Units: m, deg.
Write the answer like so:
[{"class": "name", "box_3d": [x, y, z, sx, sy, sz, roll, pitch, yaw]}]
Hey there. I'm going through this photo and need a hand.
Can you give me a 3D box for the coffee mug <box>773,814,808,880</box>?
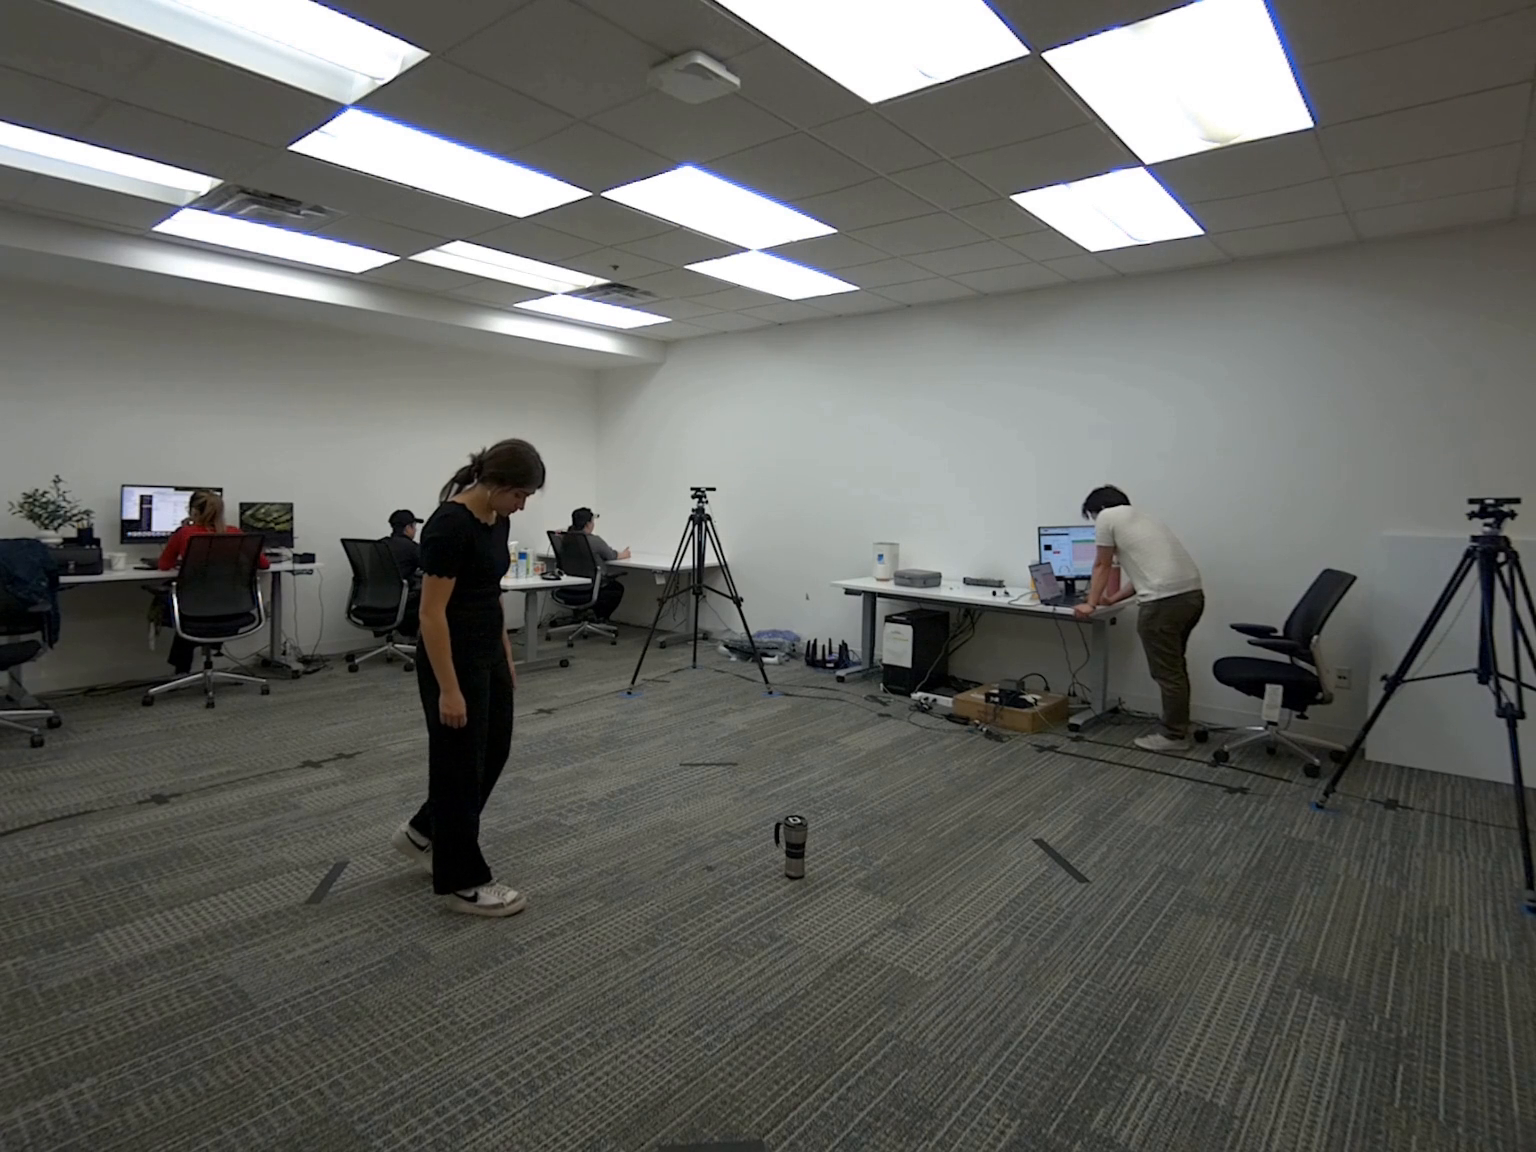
[{"class": "coffee mug", "box_3d": [0.077, 0.980, 3.081, 0.085, 0.201, 0.126, -6, 10, -41]}]
